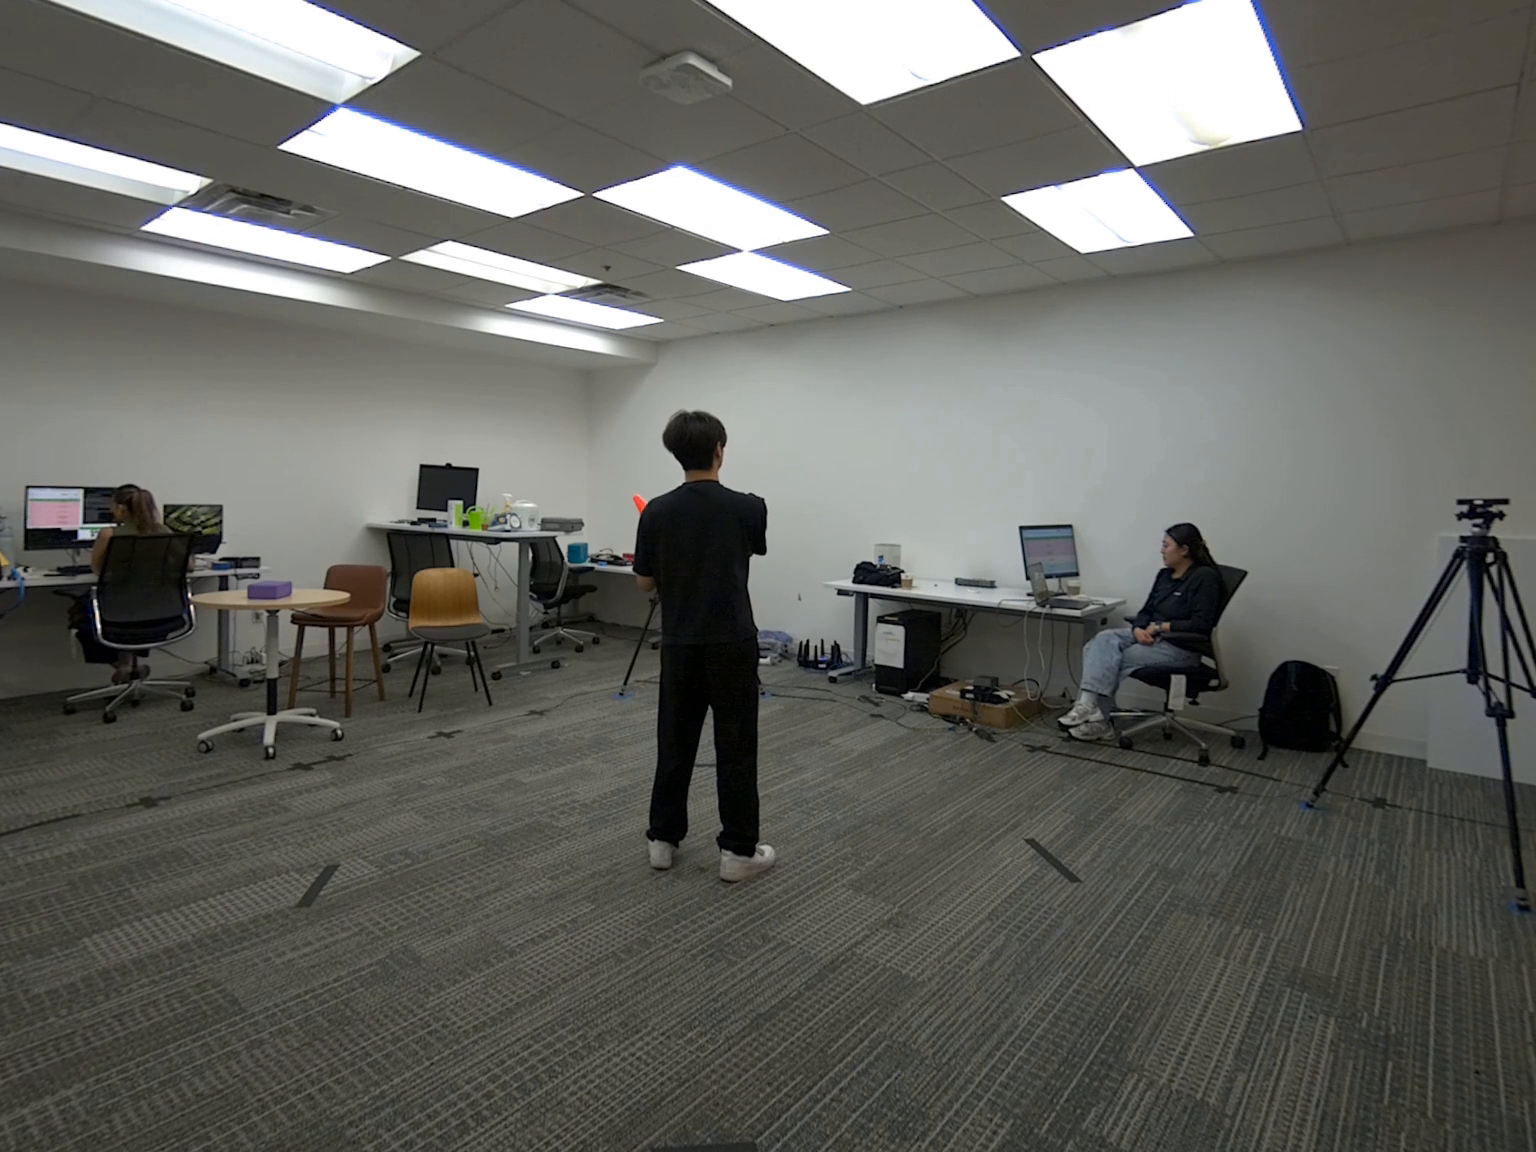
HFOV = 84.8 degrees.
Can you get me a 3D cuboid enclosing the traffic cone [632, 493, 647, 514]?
[{"bbox_3d":[-0.450,-0.183,3.564,0.201,0.393,0.202,-27,-19,-20],"label":"traffic cone"}]
